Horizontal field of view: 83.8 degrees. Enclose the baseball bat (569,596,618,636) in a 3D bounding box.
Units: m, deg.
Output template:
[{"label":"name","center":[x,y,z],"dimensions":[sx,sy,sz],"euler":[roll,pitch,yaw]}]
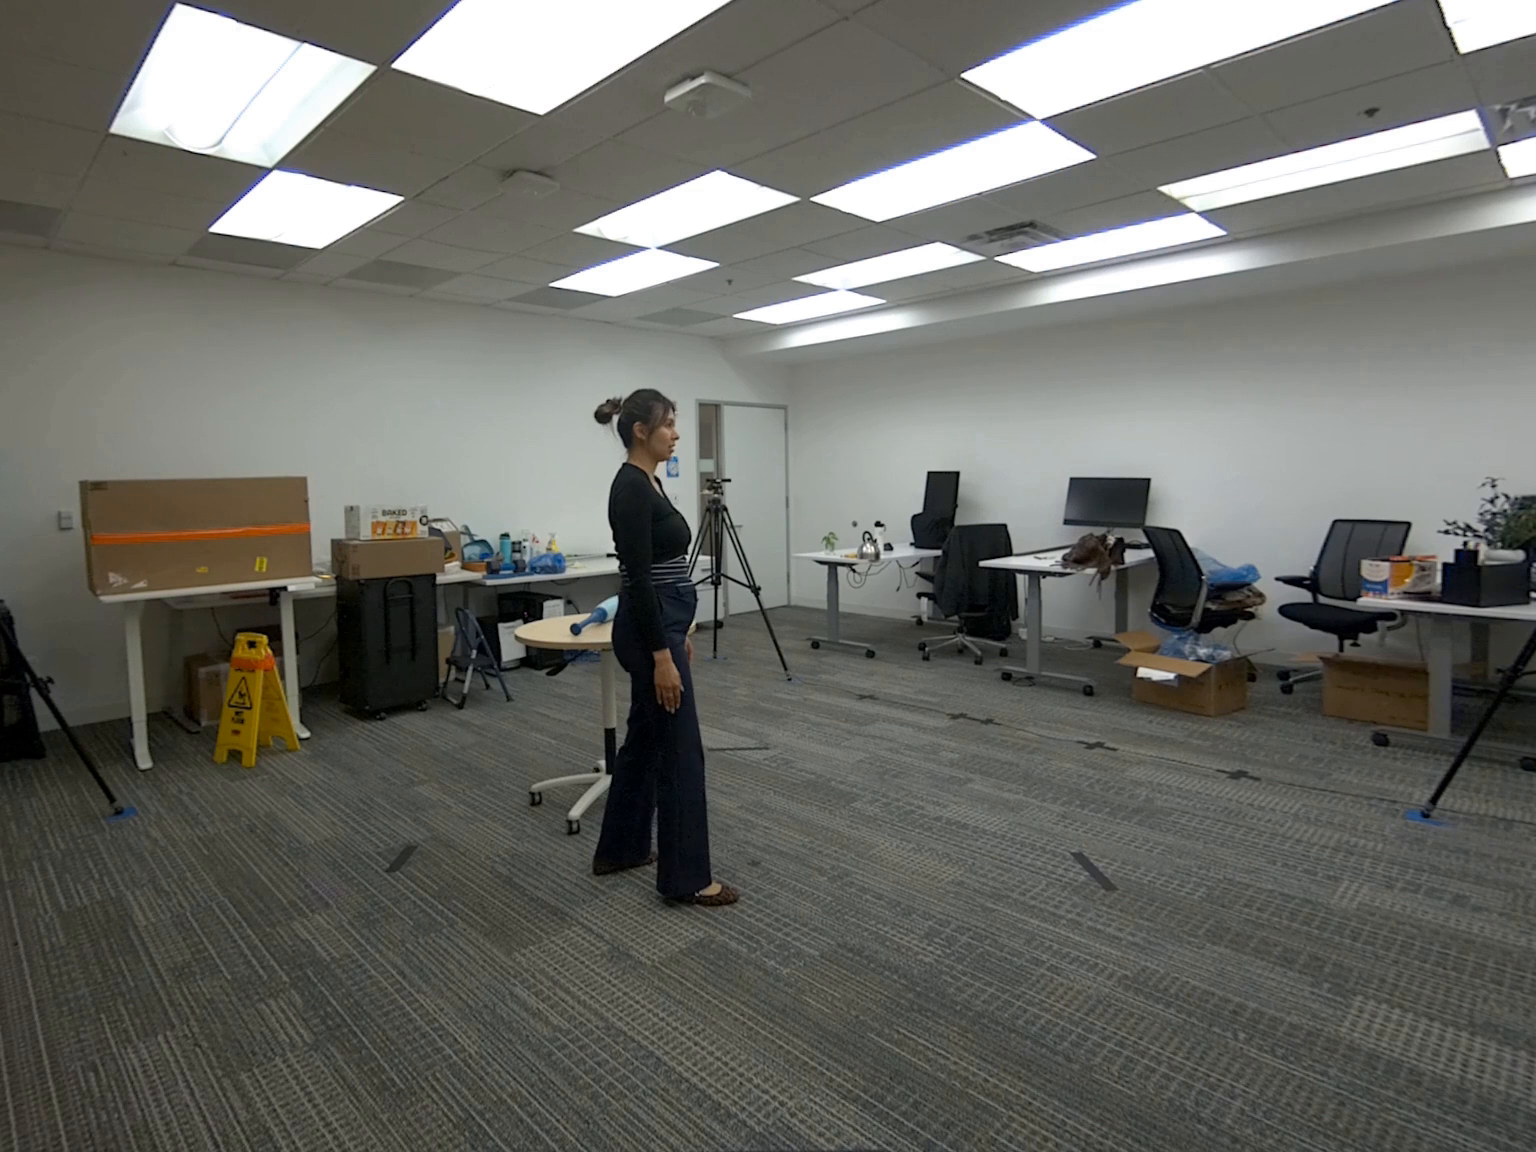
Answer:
[{"label":"baseball bat","center":[-0.729,0.172,3.675],"dimensions":[0.090,0.088,0.541],"euler":[0,8,9]}]
